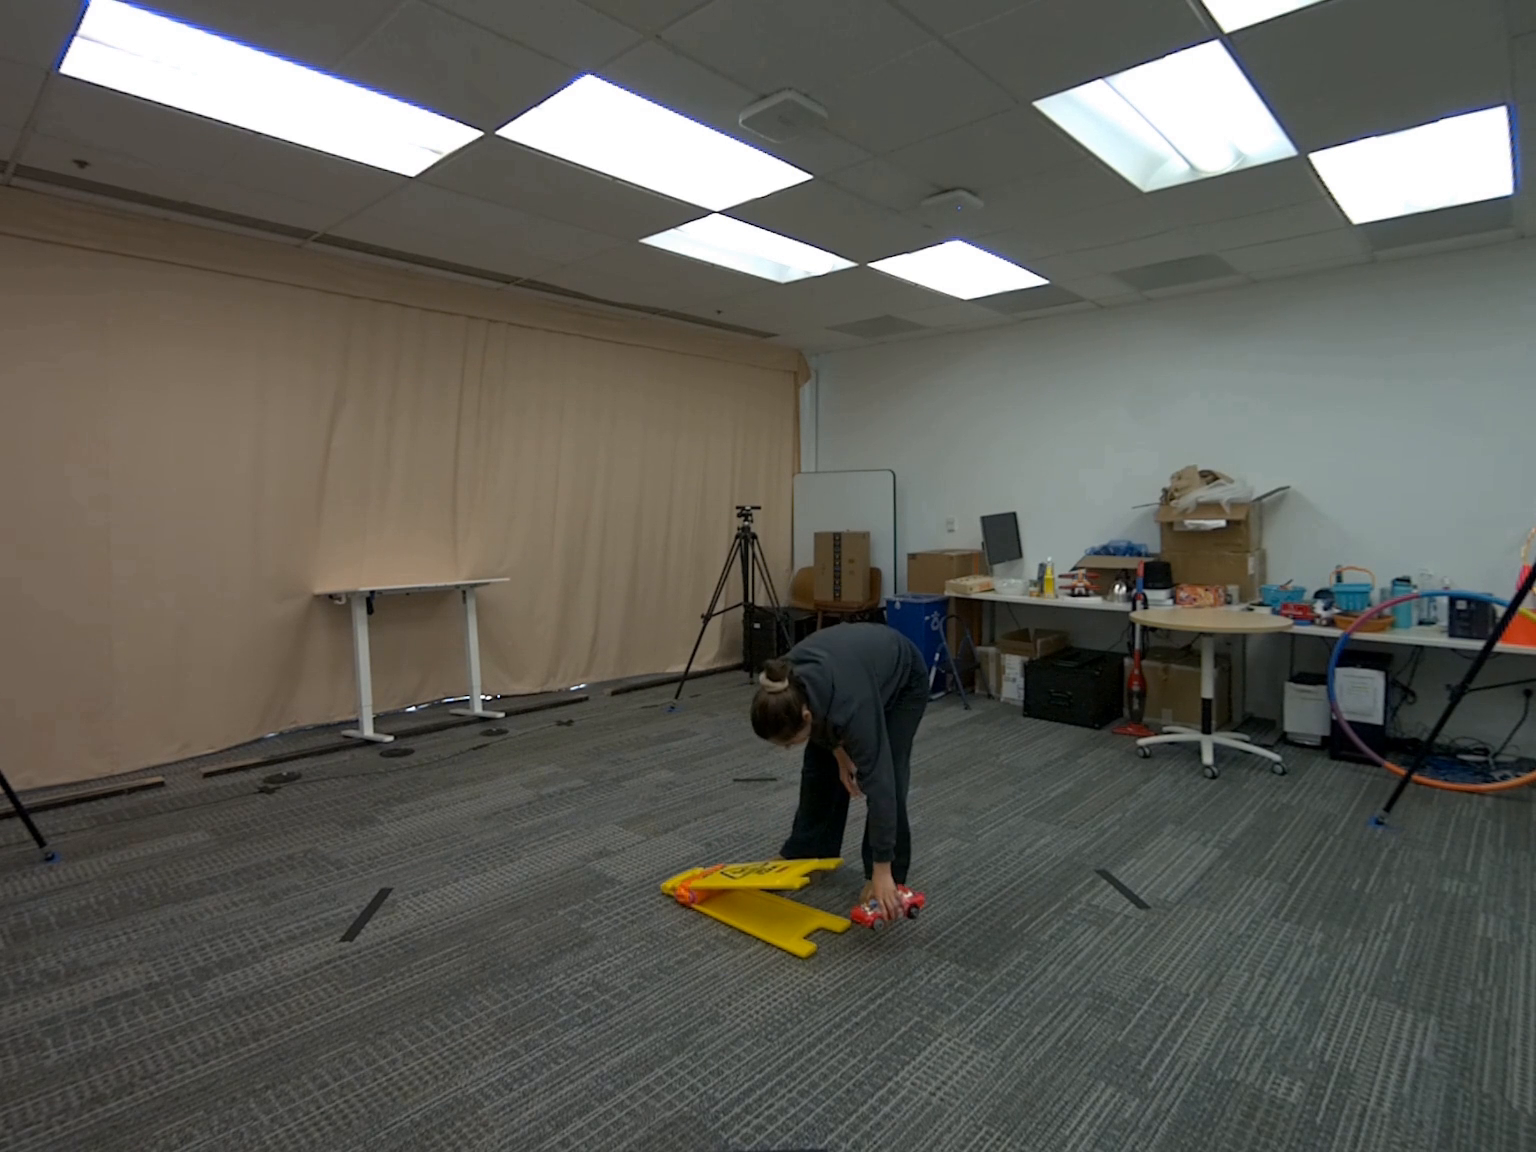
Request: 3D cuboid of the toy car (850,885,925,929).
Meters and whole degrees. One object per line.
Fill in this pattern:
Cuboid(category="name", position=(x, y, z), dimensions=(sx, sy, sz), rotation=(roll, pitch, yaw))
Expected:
Cuboid(category="toy car", position=(0.401, 1.036, 2.657), dimensions=(0.249, 0.083, 0.133), rotation=(-17, 5, -27))
